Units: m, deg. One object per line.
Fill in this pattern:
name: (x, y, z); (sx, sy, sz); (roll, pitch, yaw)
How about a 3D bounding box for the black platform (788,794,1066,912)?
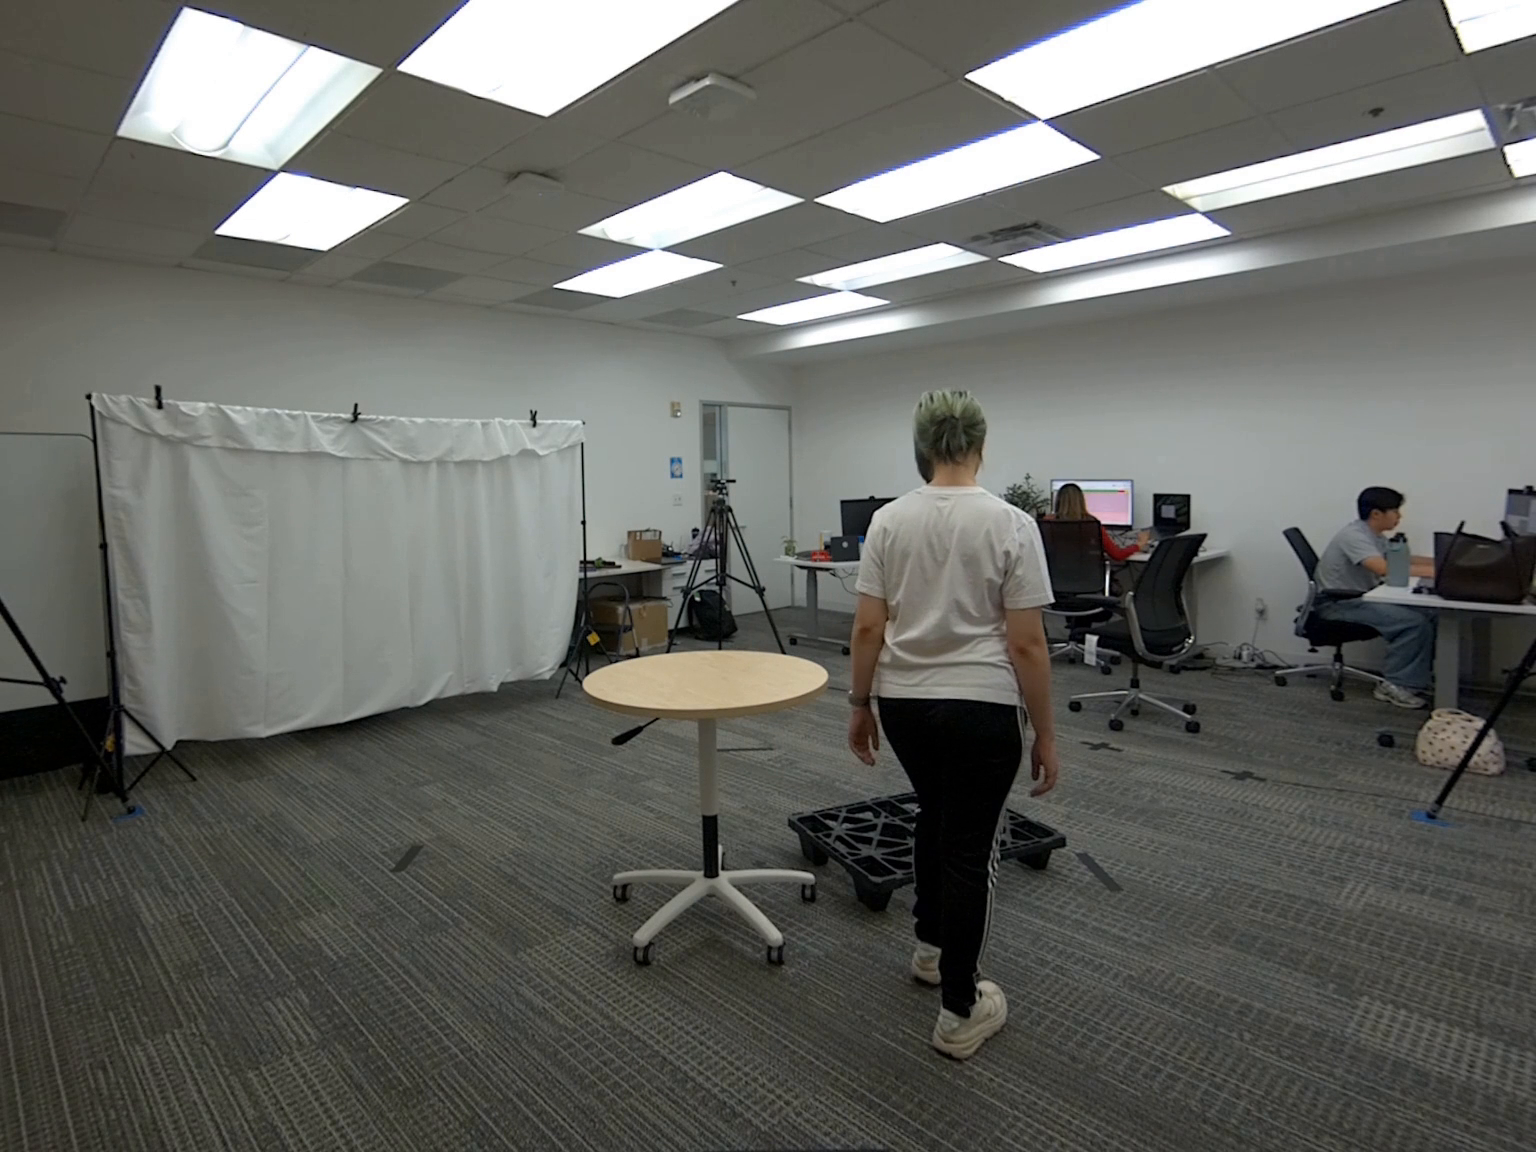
black platform: (0.564, 0.969, 3.095); (0.789, 0.142, 0.621); (-4, 8, -25)
